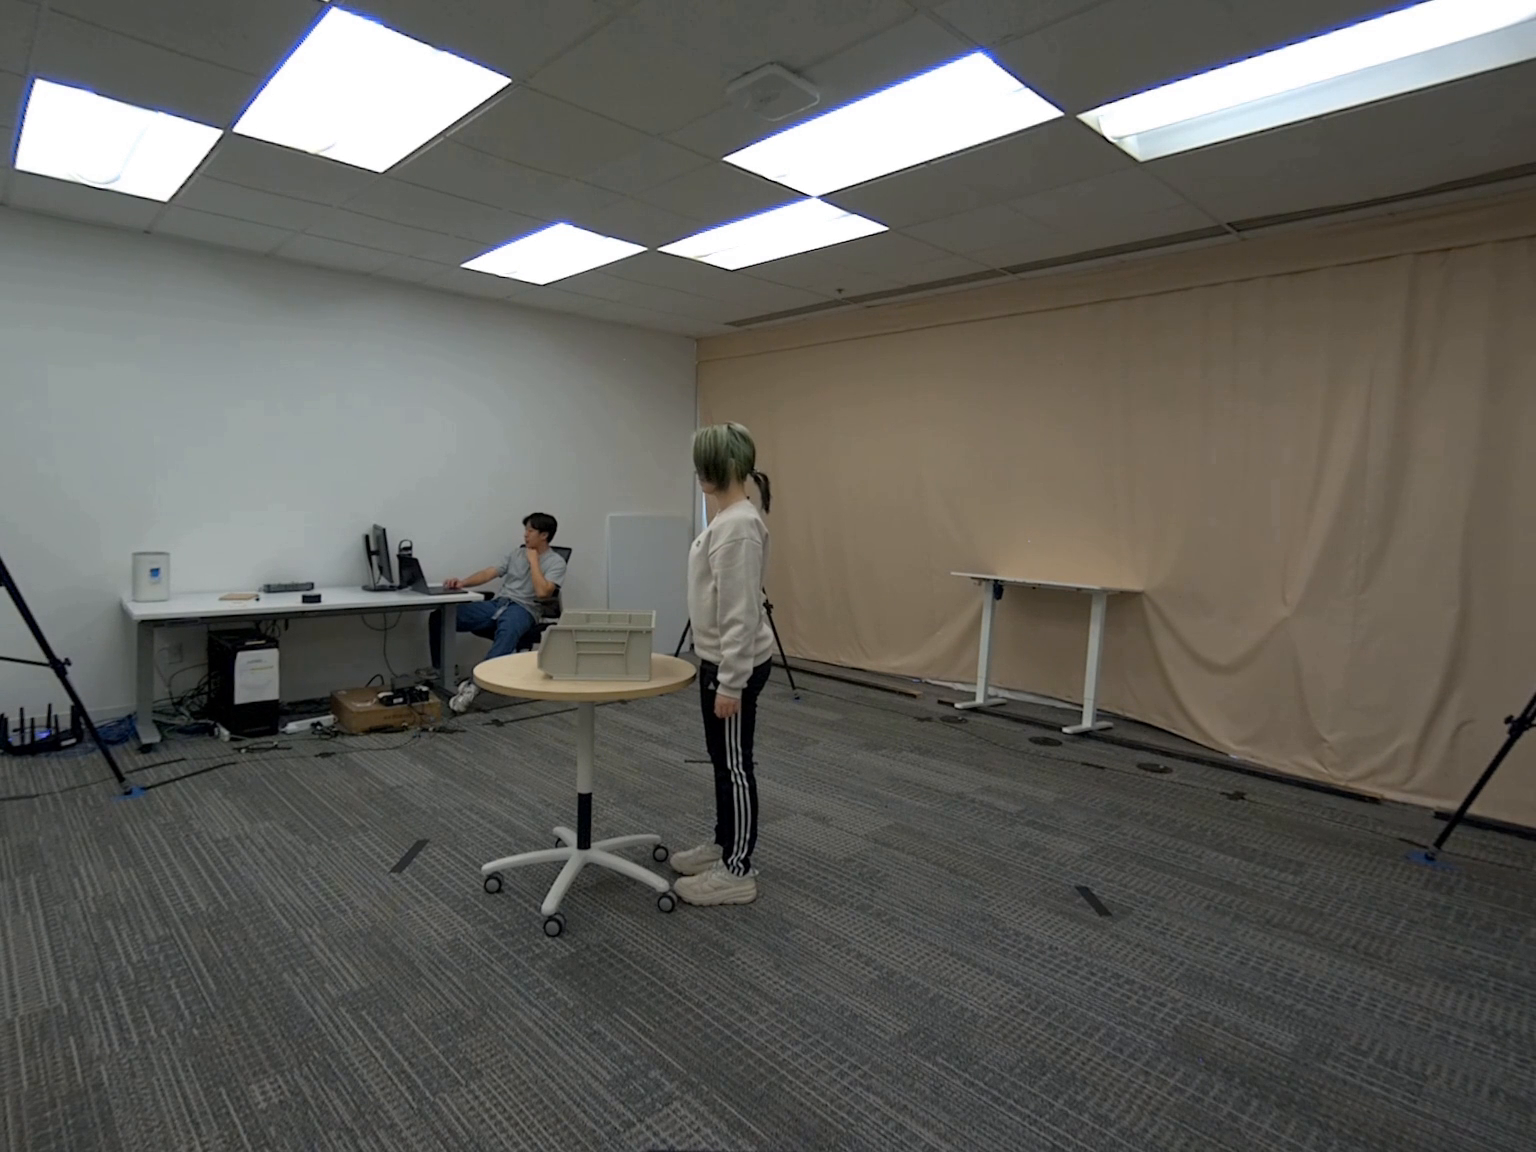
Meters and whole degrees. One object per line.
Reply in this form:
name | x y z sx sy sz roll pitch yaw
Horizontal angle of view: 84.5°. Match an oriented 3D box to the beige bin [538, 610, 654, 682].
beige bin | -0.585 0.235 2.946 0.375 0.188 0.425 2 4 -6
